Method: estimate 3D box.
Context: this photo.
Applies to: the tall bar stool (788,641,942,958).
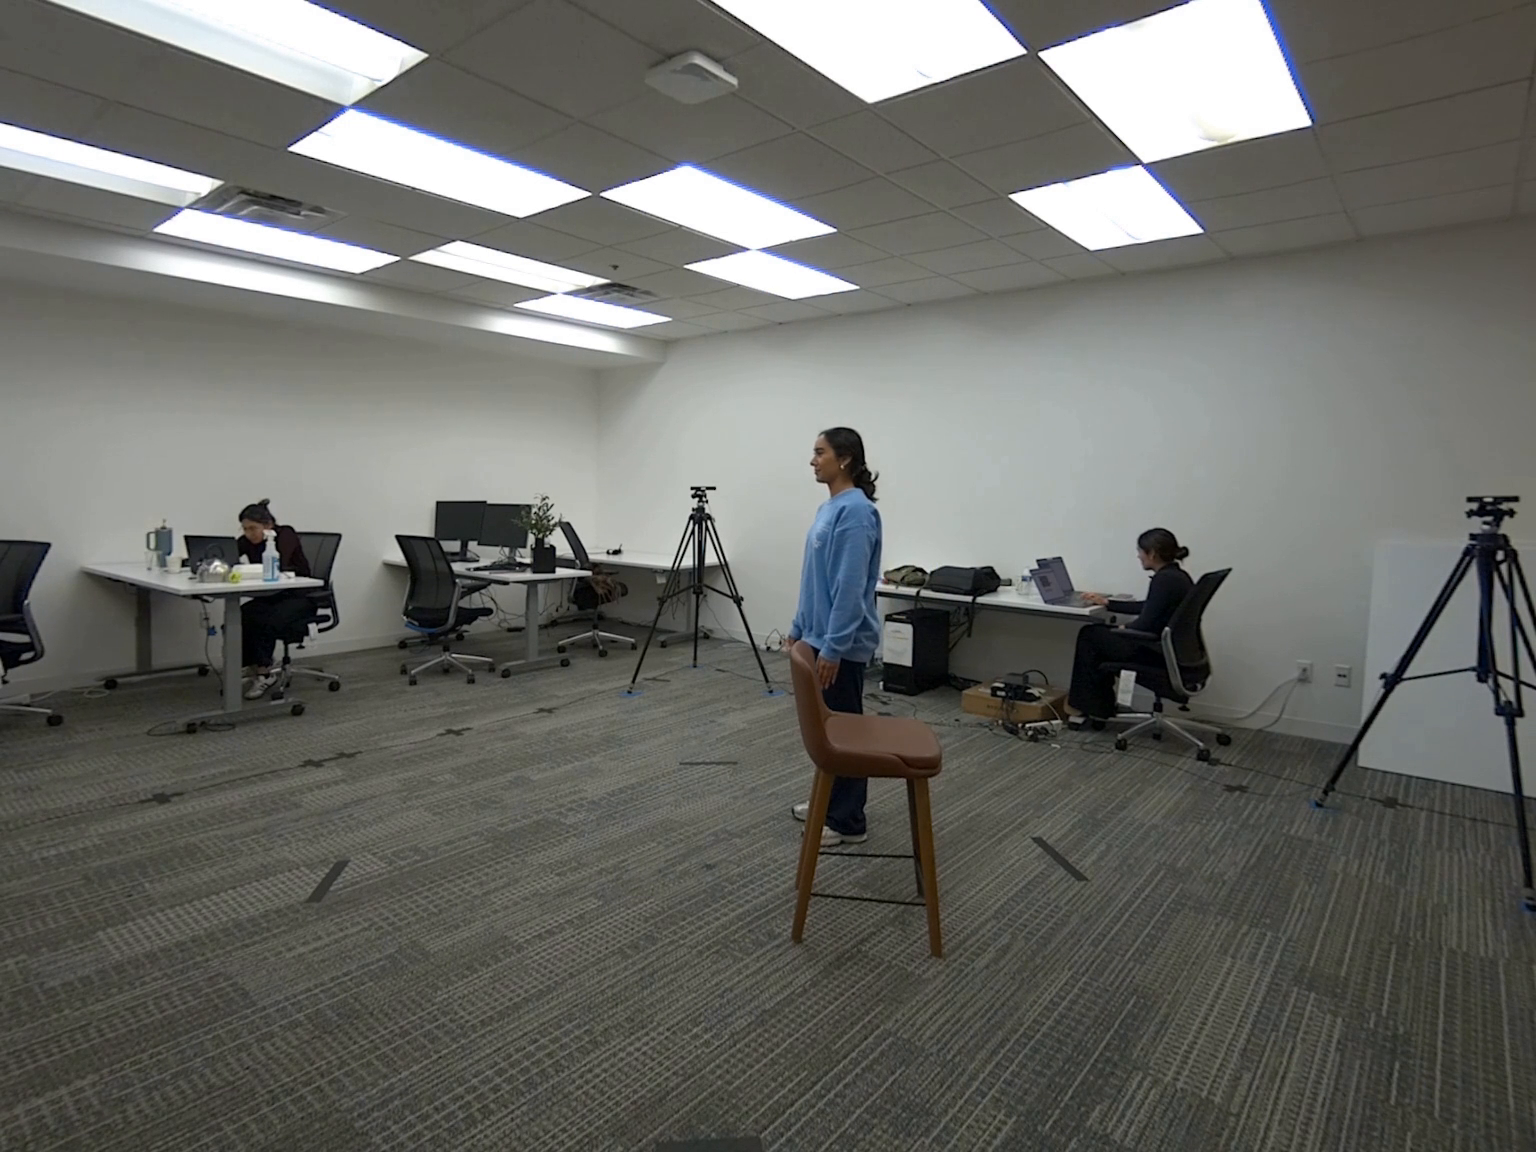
[{"bbox_3d":[0.307,0.680,2.745,0.472,0.887,0.454,1,3,7],"label":"tall bar stool"}]
